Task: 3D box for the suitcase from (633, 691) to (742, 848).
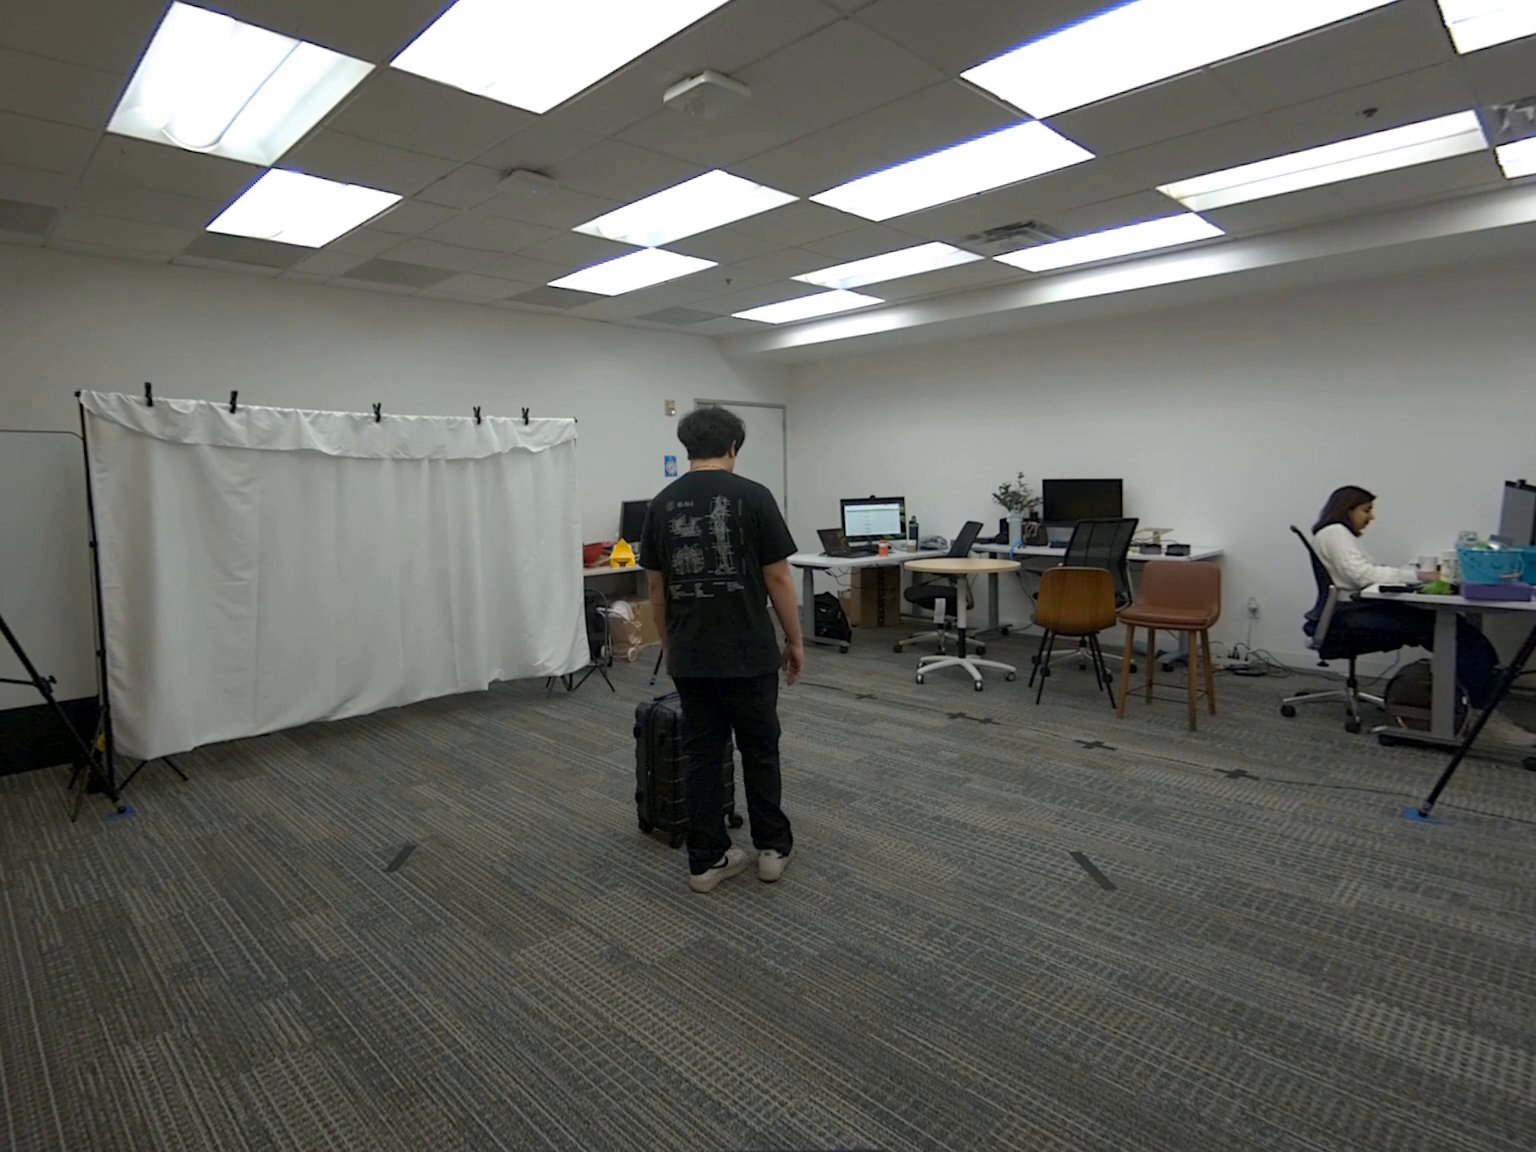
[{"bbox_3d":[-0.323,0.735,3.393,0.365,0.548,0.256,-4,5,-43],"label":"suitcase"}]
